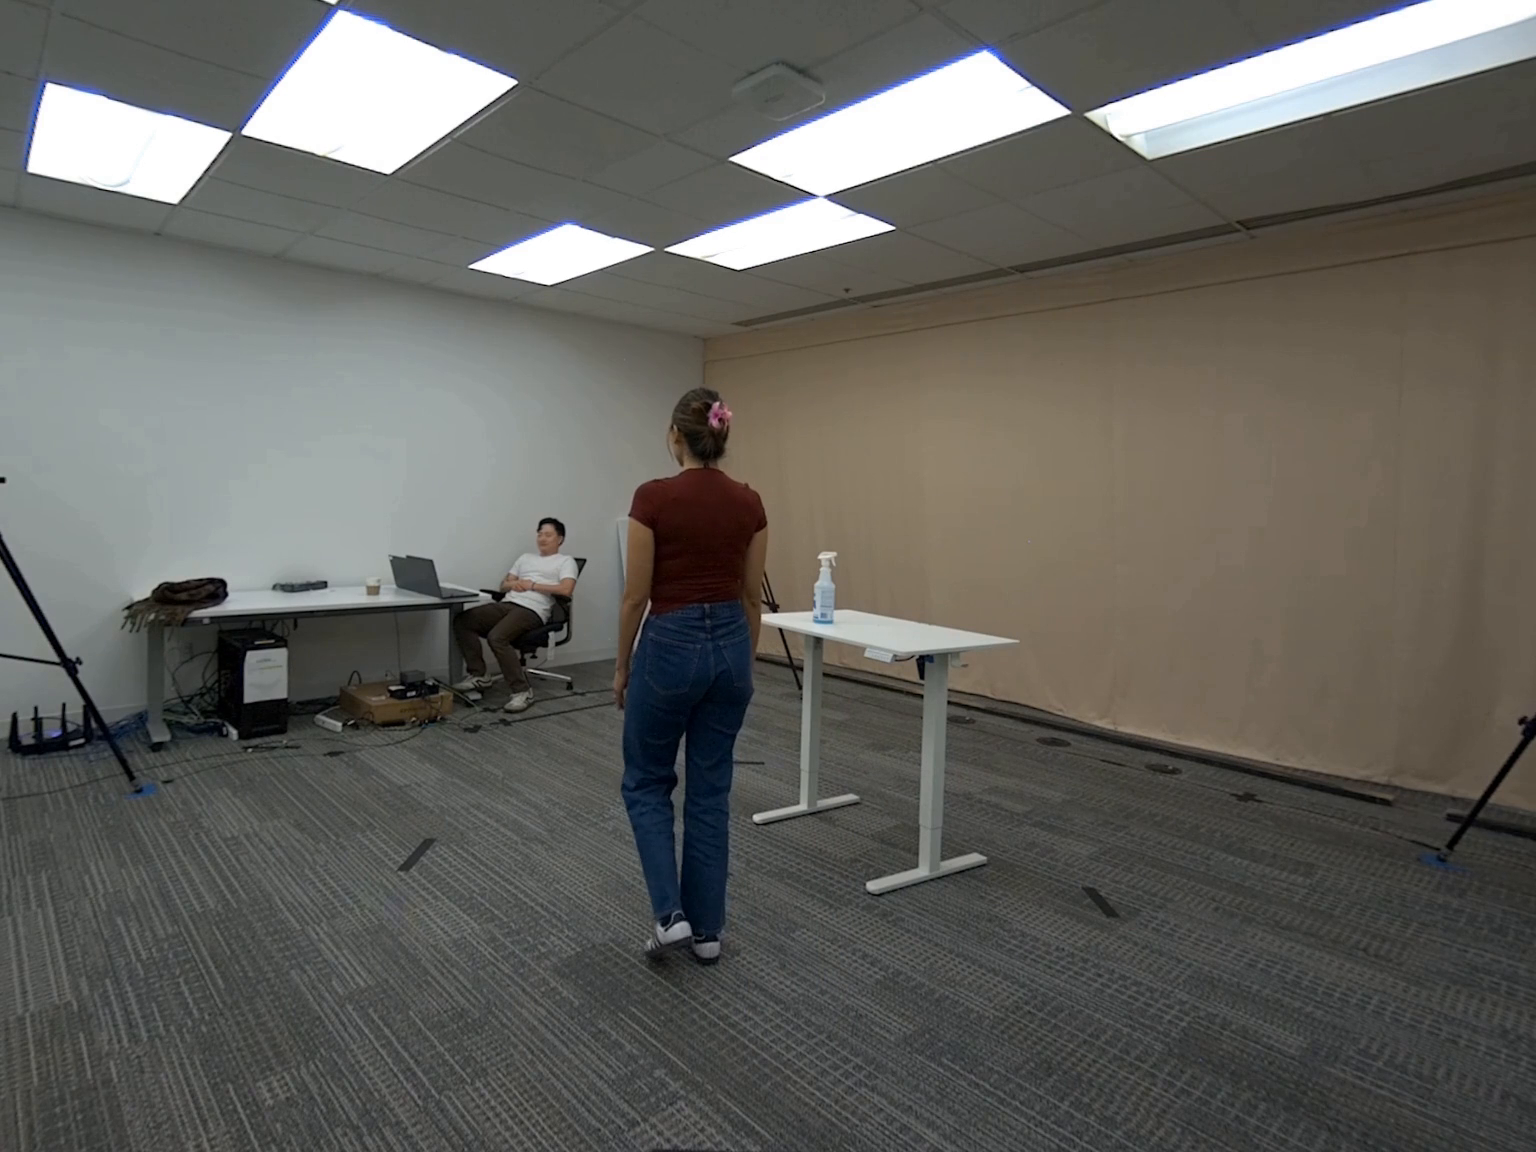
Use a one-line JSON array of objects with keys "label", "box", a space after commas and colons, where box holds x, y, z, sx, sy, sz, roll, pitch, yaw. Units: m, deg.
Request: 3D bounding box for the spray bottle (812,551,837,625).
[{"label": "spray bottle", "box": [0.232, 0.051, 3.500, 0.085, 0.297, 0.092, 1, 3, -23]}]
